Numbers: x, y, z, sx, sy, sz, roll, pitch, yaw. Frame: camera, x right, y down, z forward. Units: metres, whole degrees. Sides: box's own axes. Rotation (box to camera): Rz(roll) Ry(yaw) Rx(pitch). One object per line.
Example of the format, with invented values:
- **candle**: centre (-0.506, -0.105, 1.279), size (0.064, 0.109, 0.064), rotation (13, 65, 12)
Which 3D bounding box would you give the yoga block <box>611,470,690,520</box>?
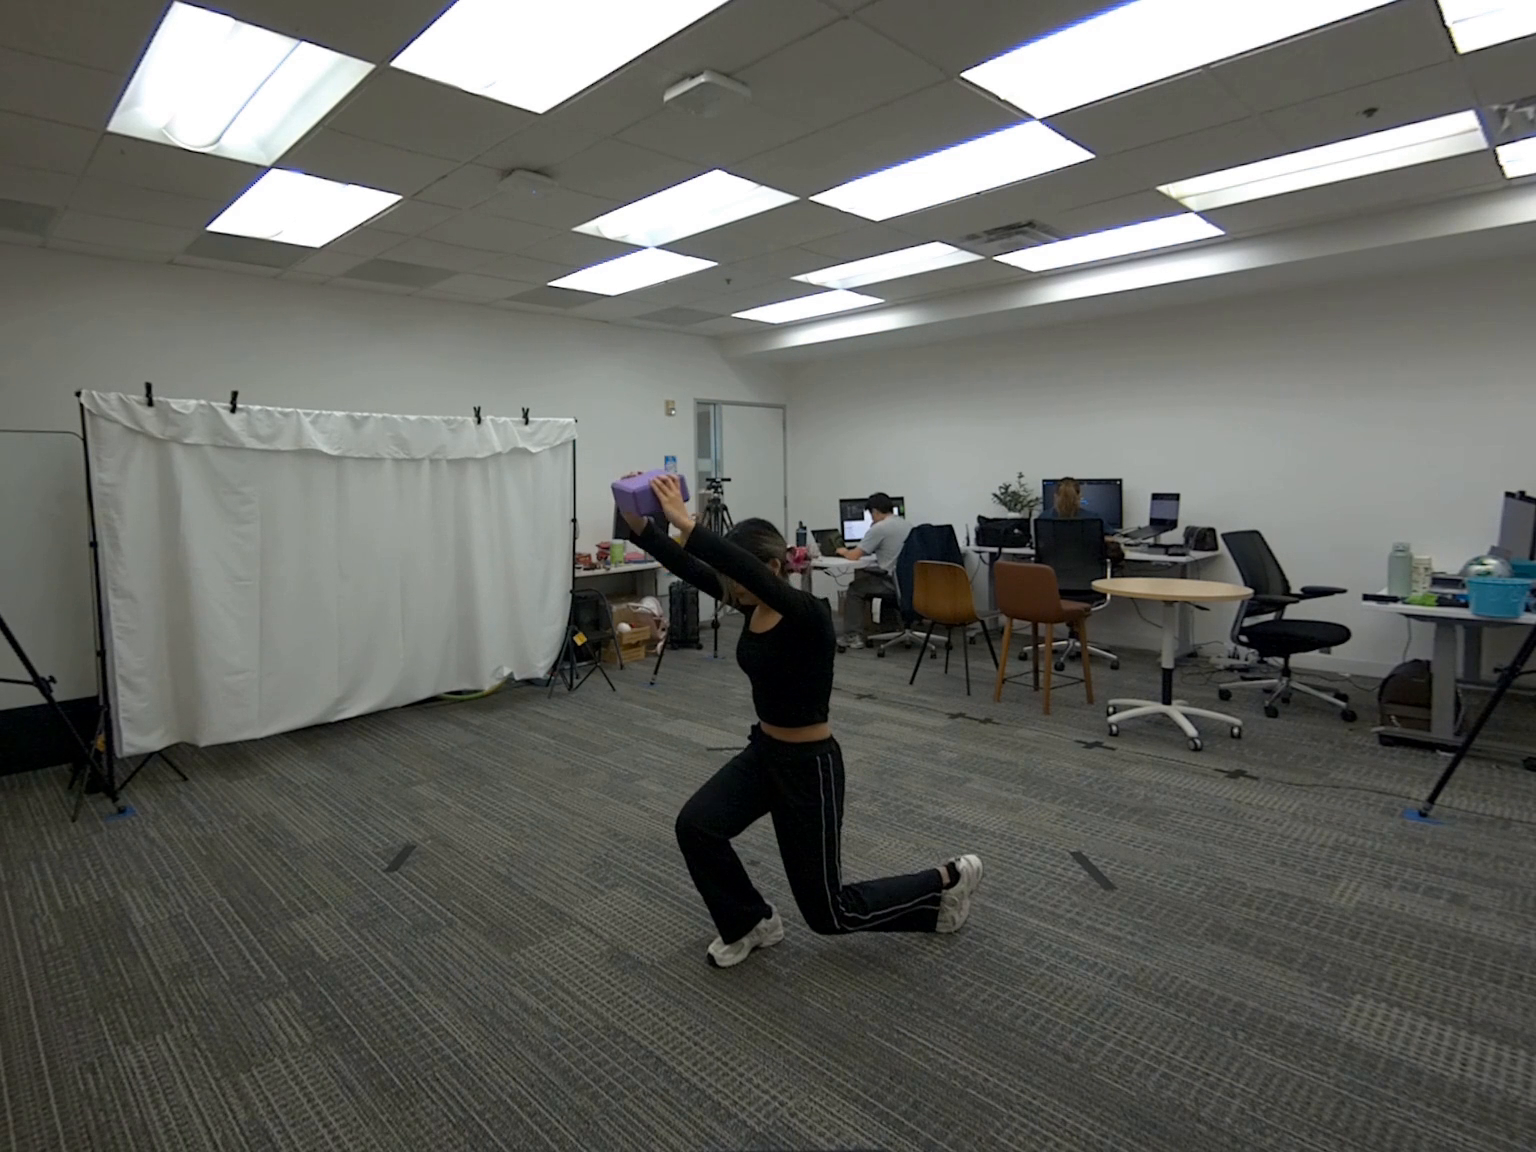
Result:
- **yoga block**: centre (-0.306, -0.231, 2.270), size (0.147, 0.075, 0.235), rotation (-19, 17, -18)
